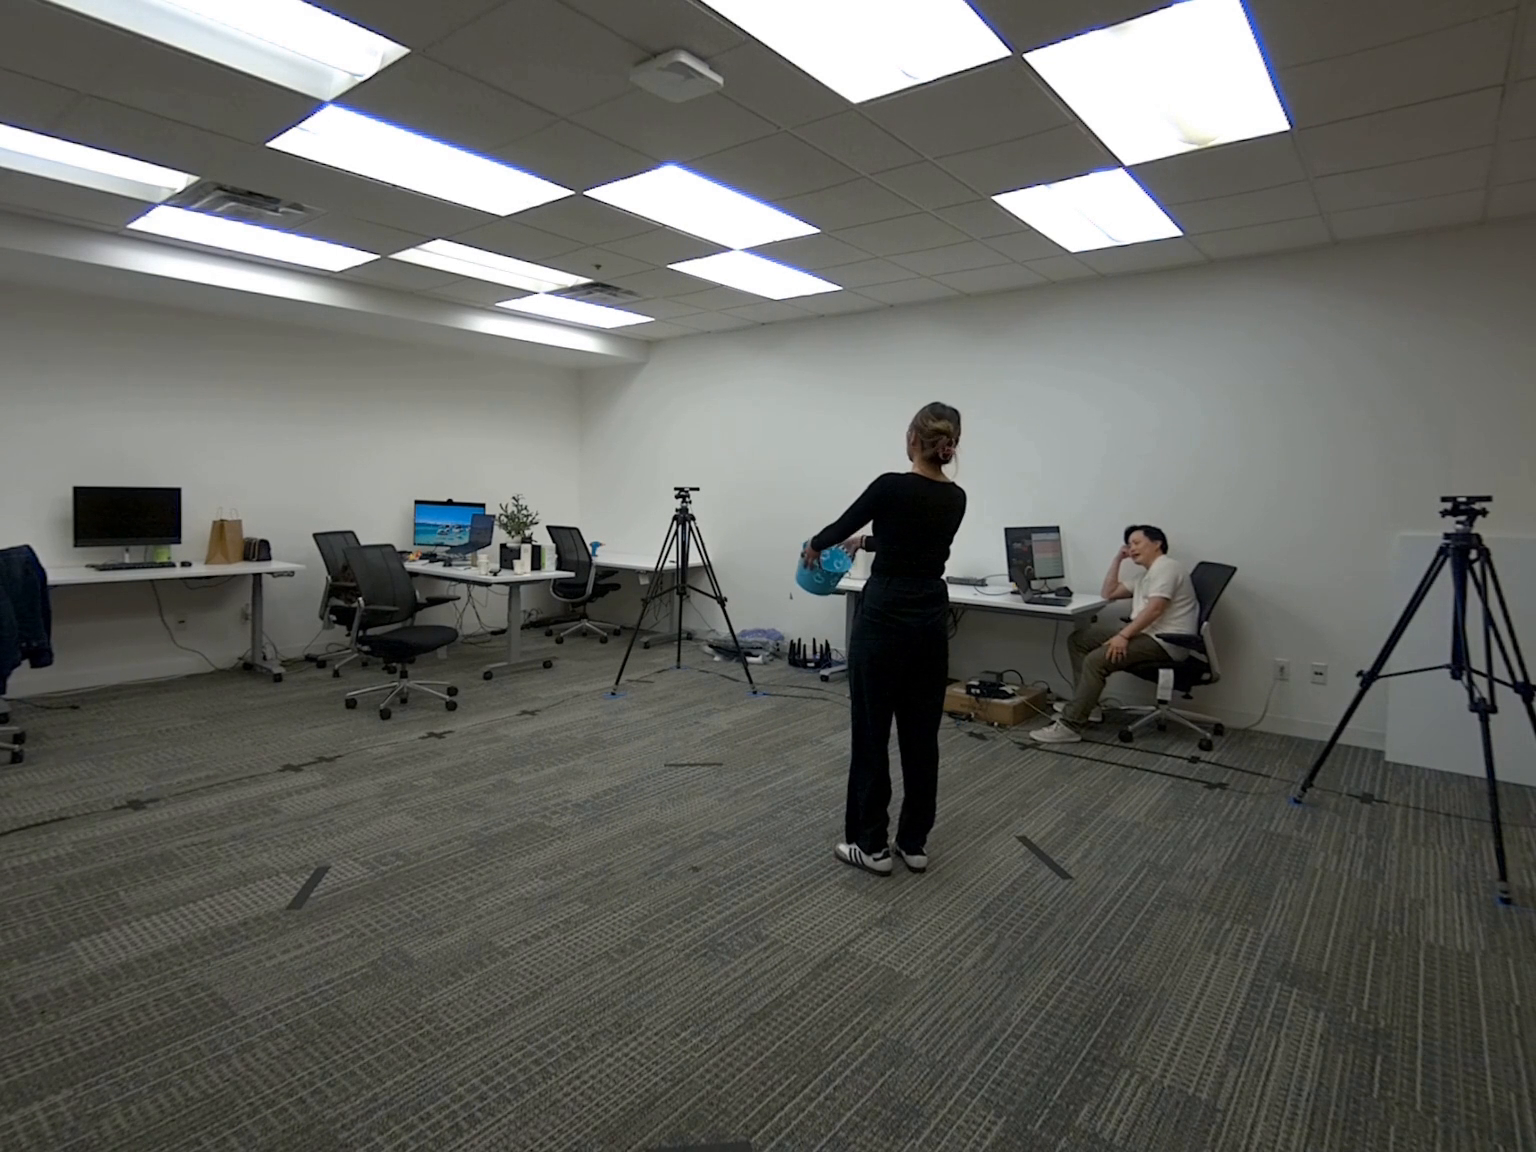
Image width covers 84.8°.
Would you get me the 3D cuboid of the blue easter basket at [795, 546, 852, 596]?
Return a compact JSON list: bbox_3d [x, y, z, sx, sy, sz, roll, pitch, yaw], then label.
[{"bbox_3d":[0.229,-0.035,3.677,0.240,0.154,0.250,14,32,-11],"label":"blue easter basket"}]
